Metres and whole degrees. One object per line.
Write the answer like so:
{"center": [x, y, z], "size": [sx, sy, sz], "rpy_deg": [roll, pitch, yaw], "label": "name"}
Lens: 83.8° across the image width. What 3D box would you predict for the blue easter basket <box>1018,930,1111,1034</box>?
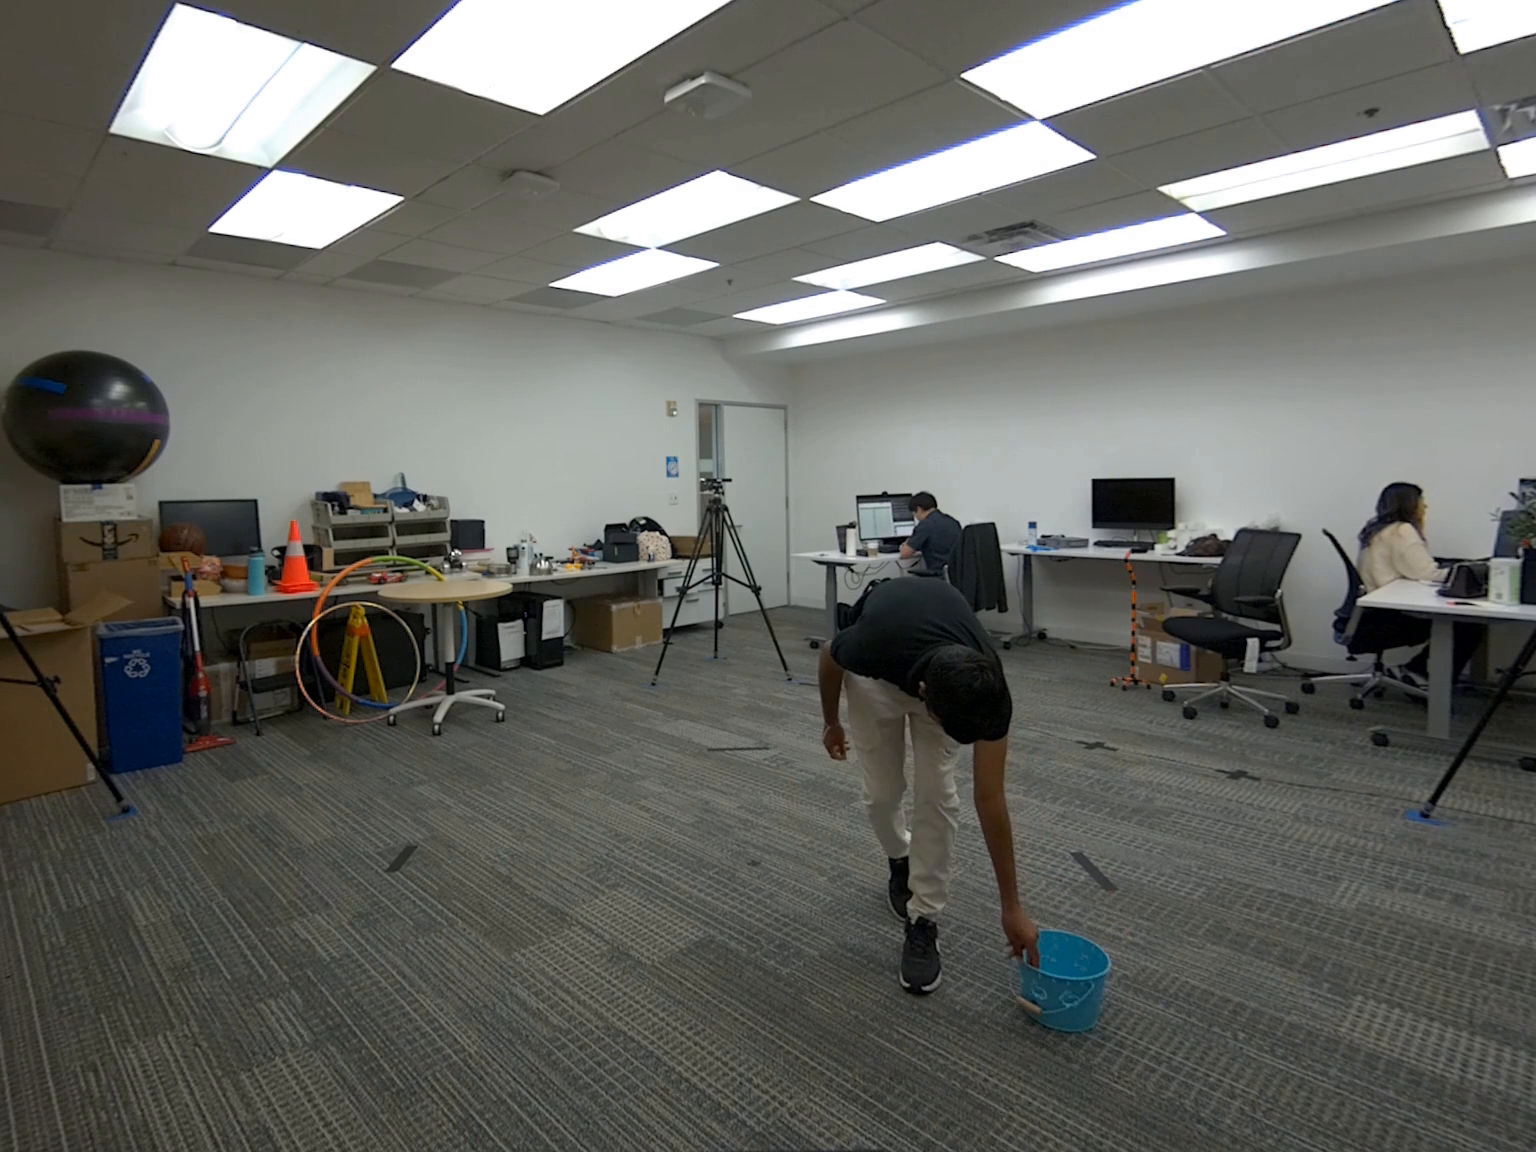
{"center": [0.764, 1.052, 2.220], "size": [0.243, 0.155, 0.244], "rpy_deg": [-1, 4, -2], "label": "blue easter basket"}
